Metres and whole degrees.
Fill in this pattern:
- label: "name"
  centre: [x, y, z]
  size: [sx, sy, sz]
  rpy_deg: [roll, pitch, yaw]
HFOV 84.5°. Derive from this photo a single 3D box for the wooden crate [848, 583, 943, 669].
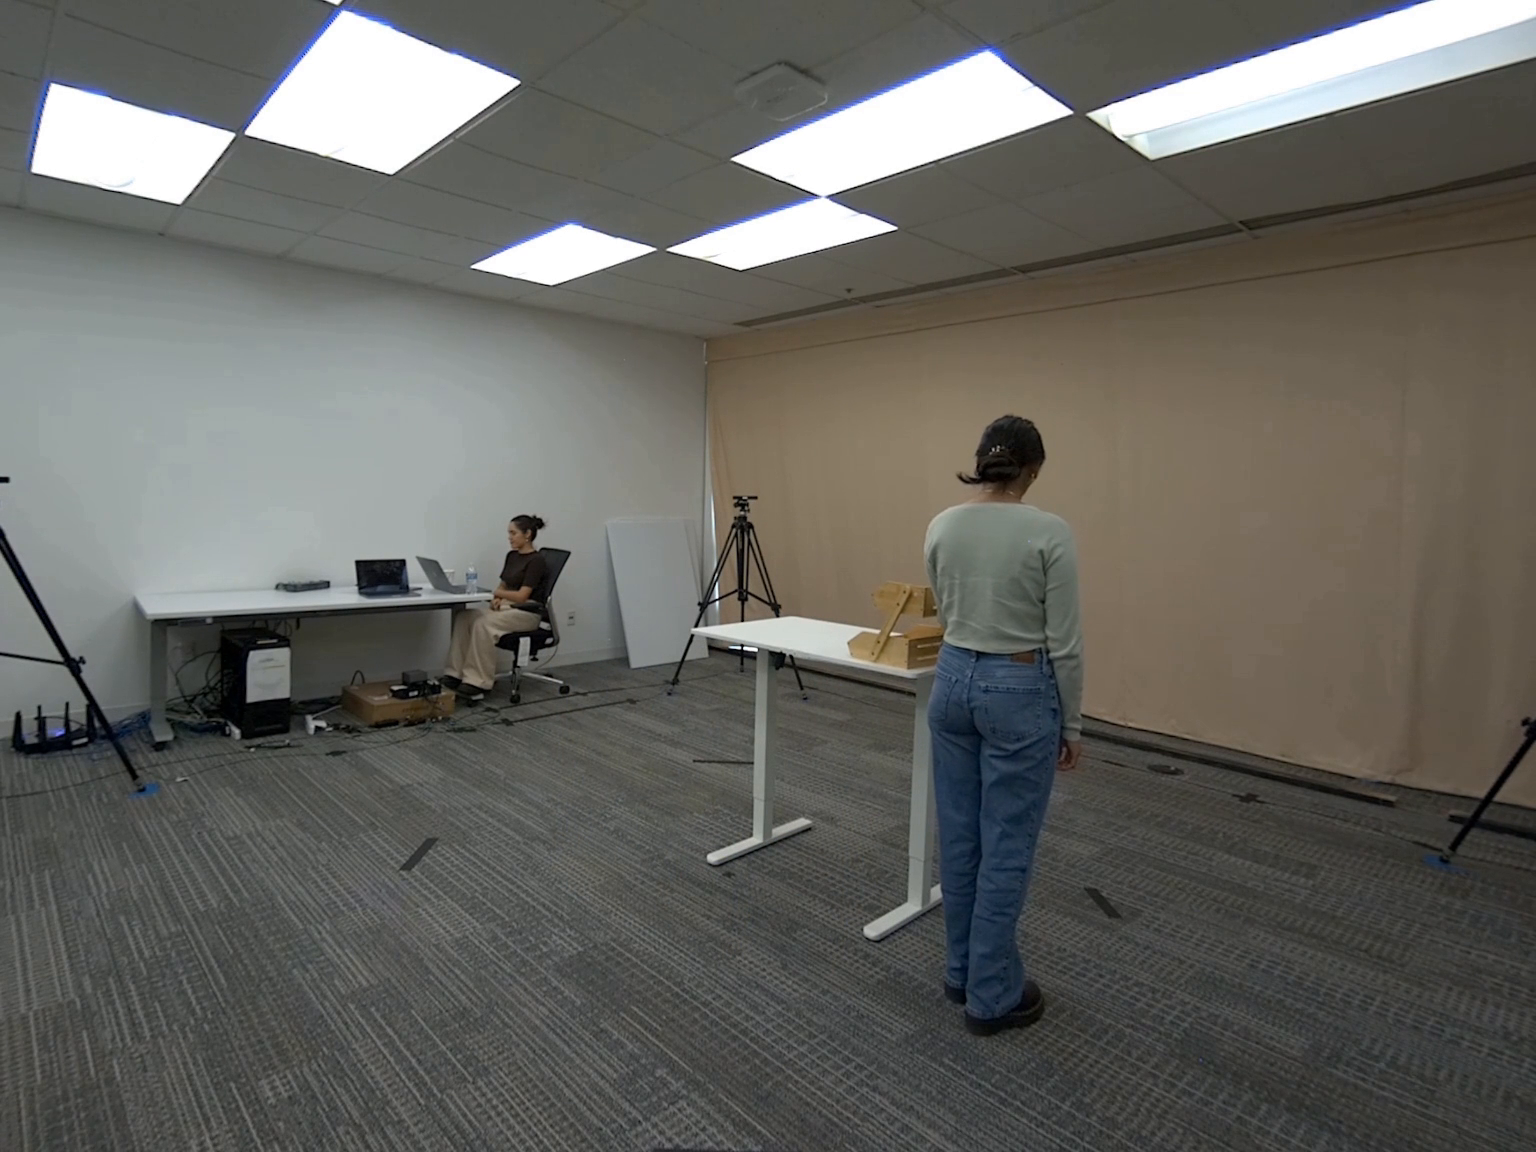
- label: "wooden crate"
  centre: [0.470, 0.140, 2.729]
  size: [0.317, 0.272, 0.310]
  rpy_deg: [-2, 6, -42]
